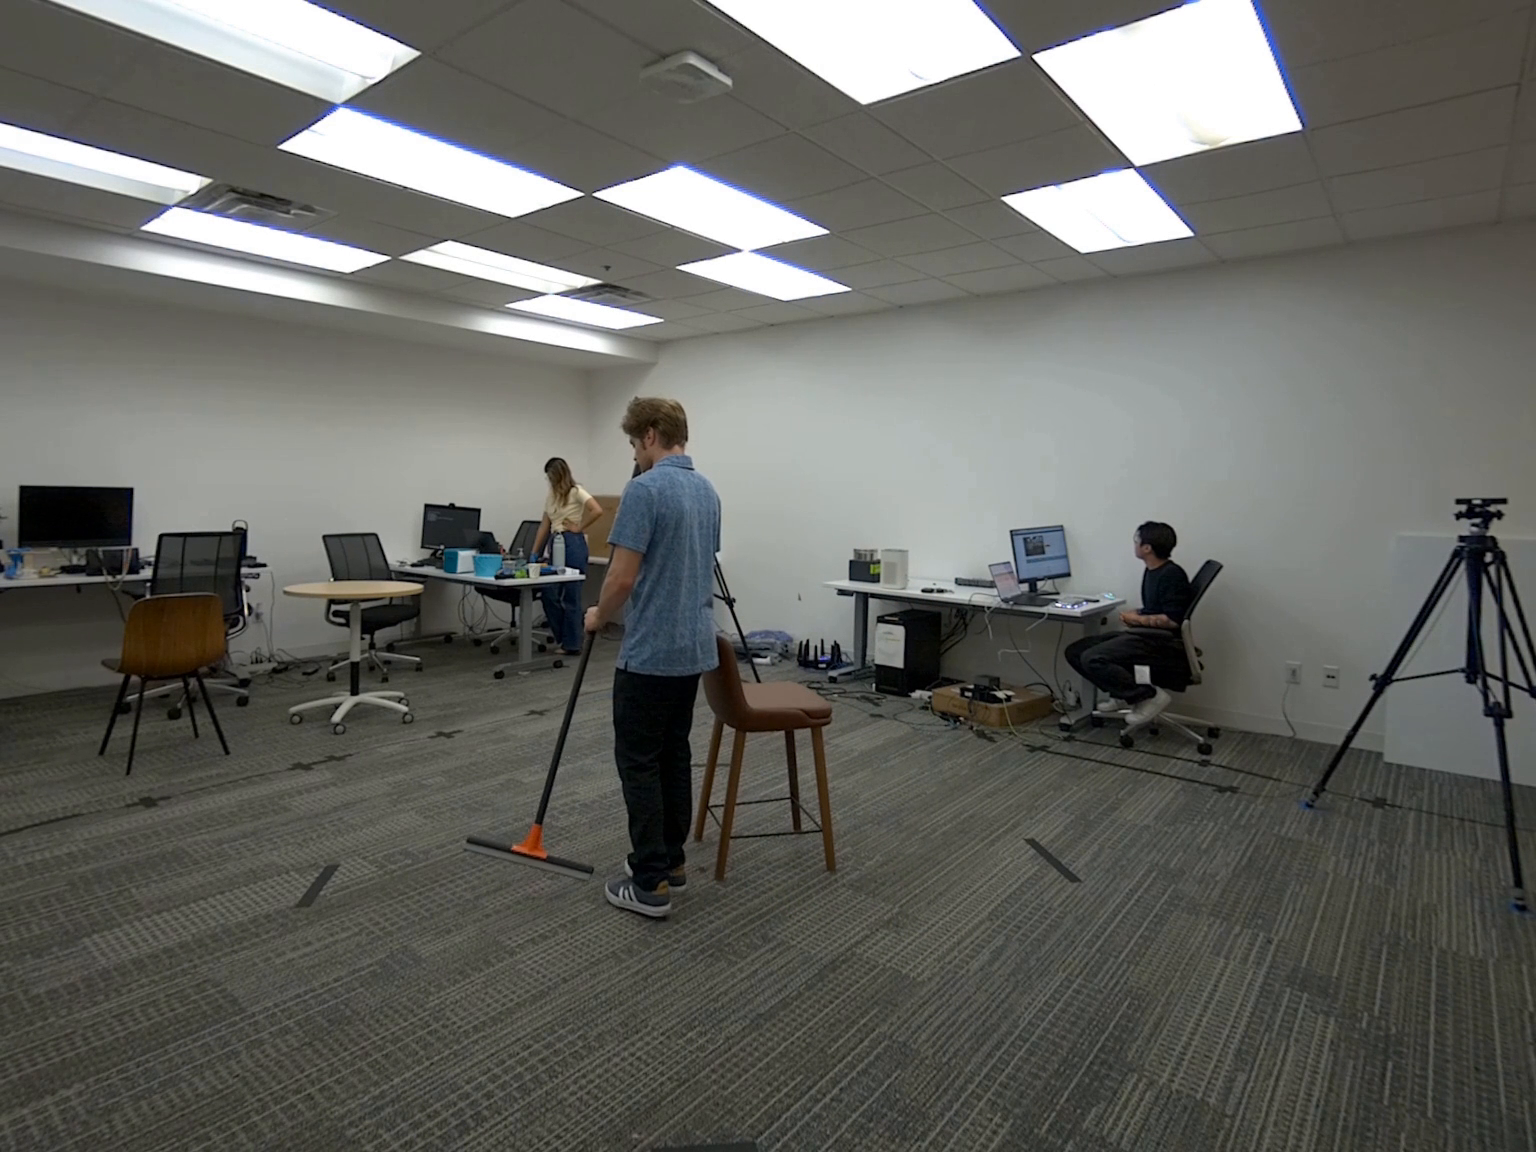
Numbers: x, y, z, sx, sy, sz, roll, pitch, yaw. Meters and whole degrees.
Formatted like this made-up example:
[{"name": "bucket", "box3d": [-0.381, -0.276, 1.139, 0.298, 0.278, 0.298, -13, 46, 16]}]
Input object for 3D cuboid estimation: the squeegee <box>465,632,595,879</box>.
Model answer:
[{"name": "squeegee", "box3d": [-0.631, 0.218, 2.994, 0.445, 1.558, 0.051, 8, -21, 14]}]
